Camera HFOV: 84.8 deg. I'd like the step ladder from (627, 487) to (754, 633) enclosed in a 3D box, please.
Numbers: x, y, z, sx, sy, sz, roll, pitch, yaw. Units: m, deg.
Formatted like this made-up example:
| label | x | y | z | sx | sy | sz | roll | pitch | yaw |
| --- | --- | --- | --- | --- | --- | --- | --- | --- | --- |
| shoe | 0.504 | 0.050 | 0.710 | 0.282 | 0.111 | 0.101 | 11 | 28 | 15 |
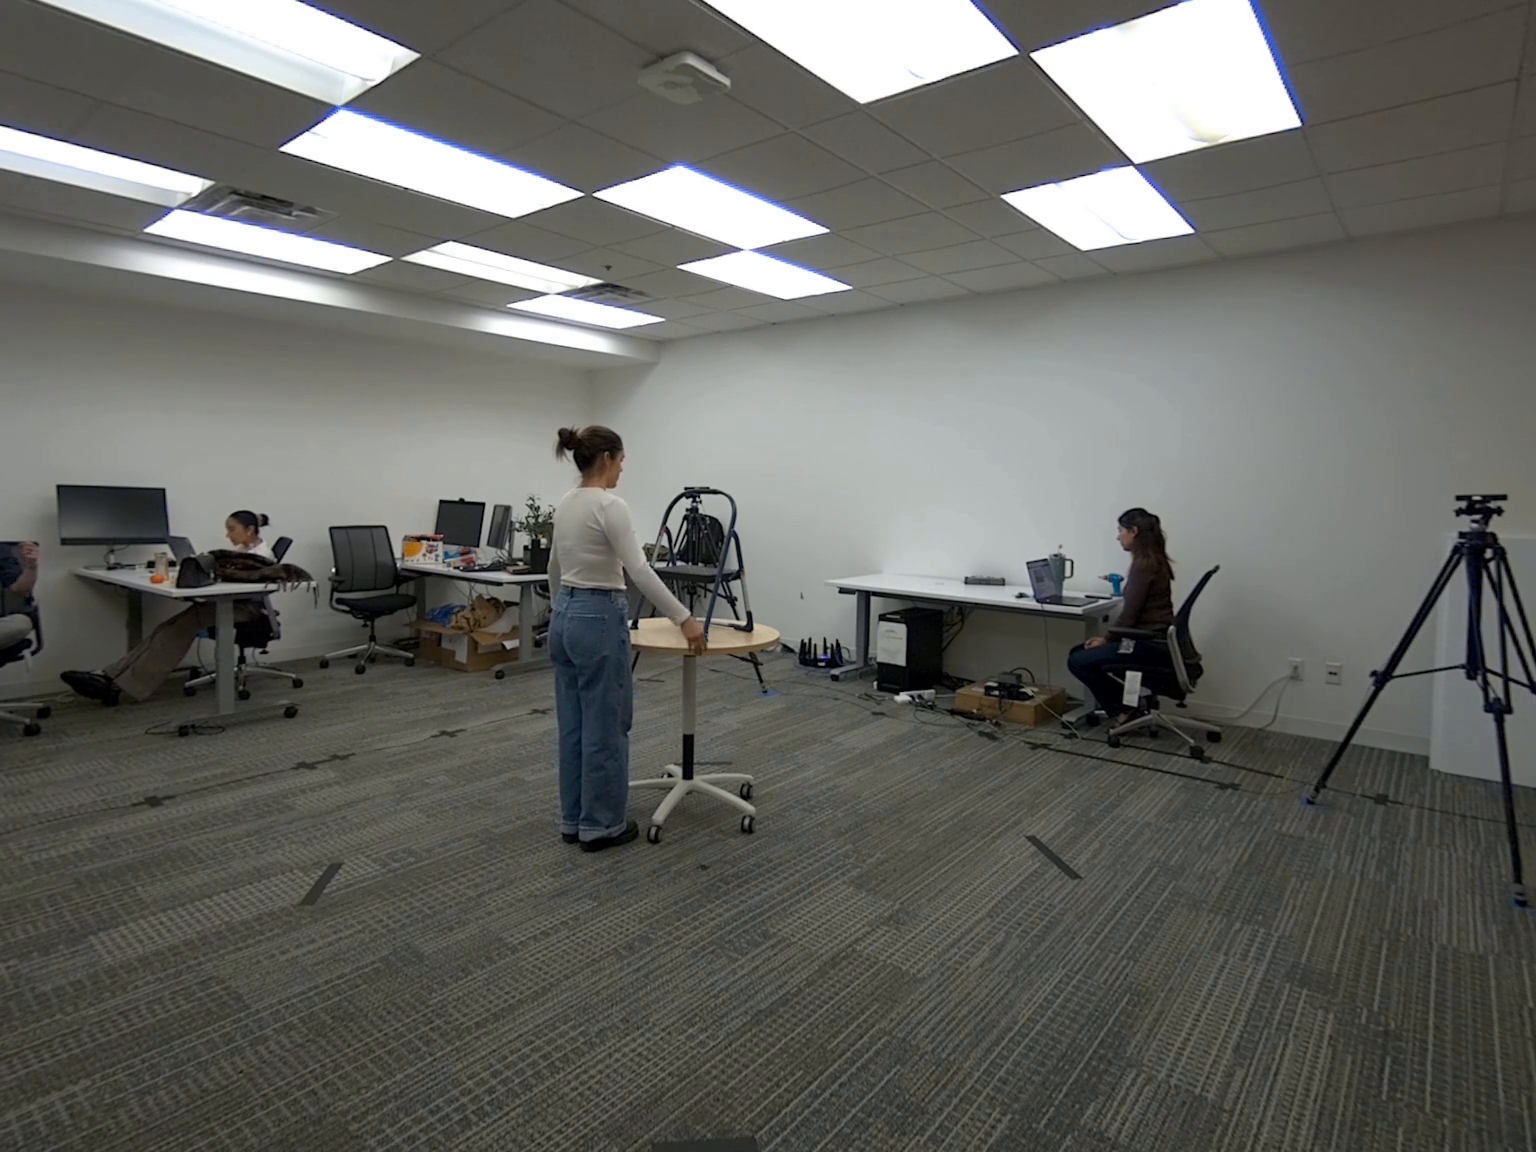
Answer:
| label | x | y | z | sx | sy | sz | roll | pitch | yaw |
| --- | --- | --- | --- | --- | --- | --- | --- | --- | --- |
| step ladder | -0.327 | -0.072 | 3.625 | 0.445 | 0.604 | 0.339 | 5 | 6 | 37 |
